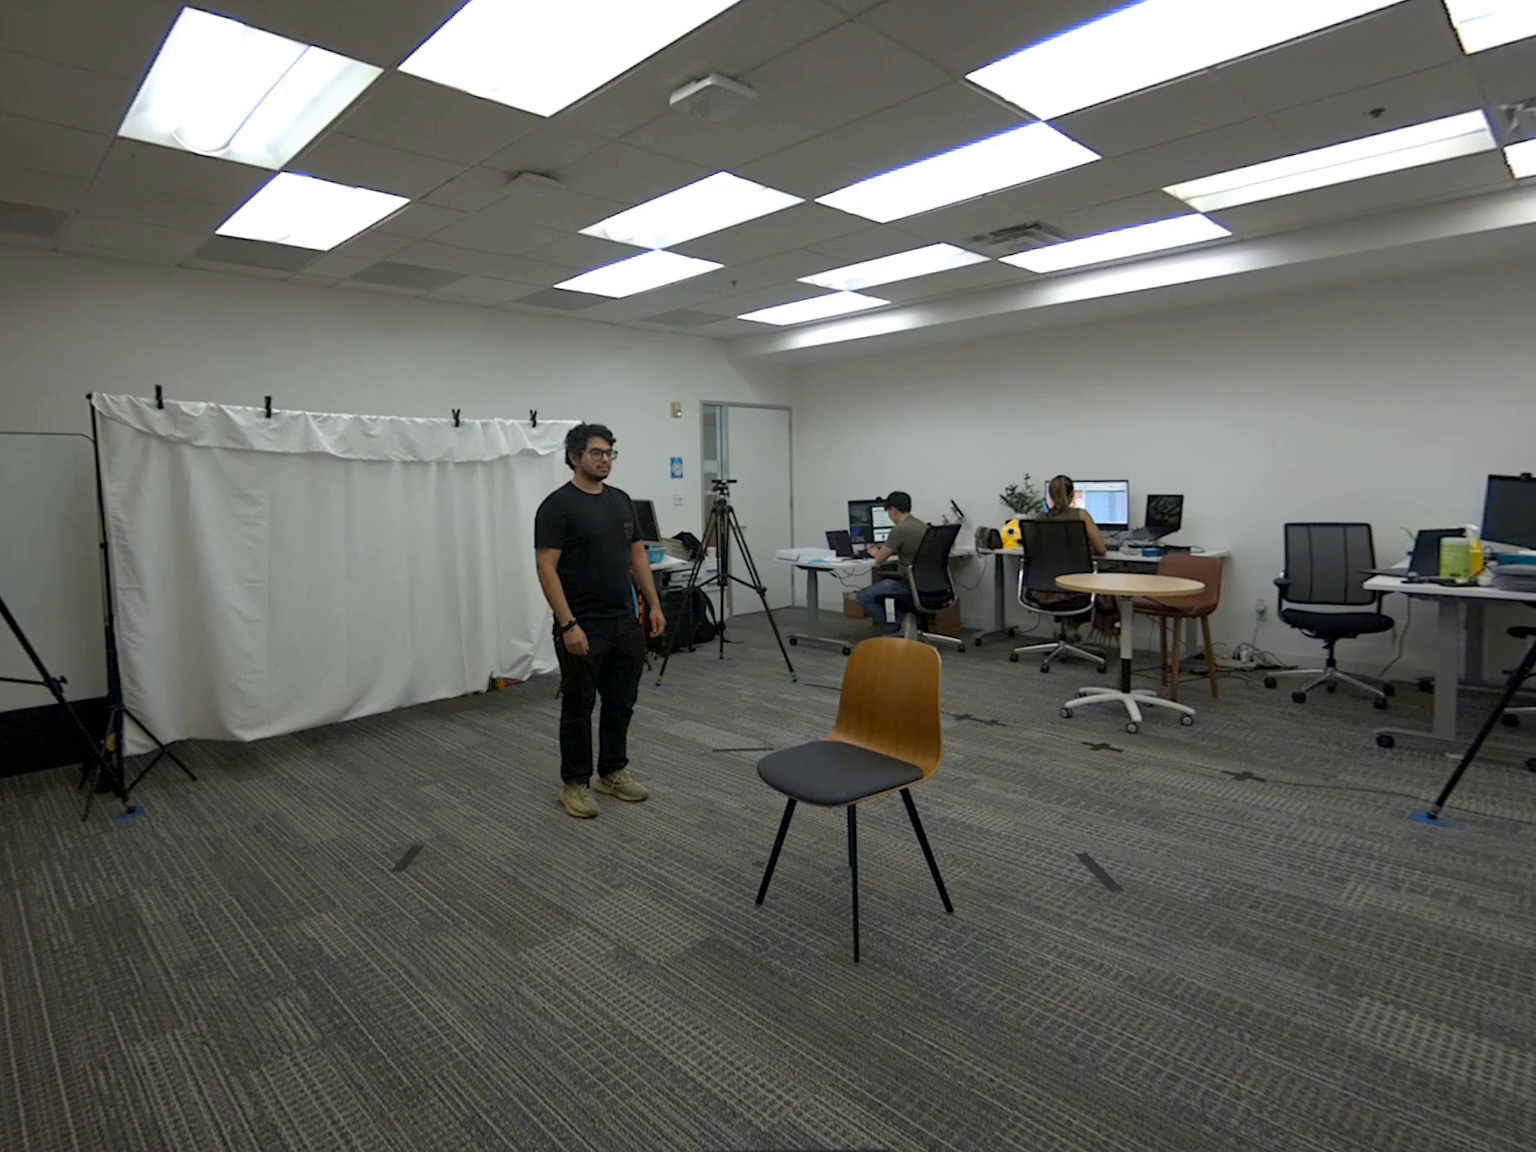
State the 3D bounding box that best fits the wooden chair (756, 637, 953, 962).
[{"bbox_3d":[0.263,0.655,2.738,0.508,0.876,0.493,1,2,-40],"label":"wooden chair"}]
